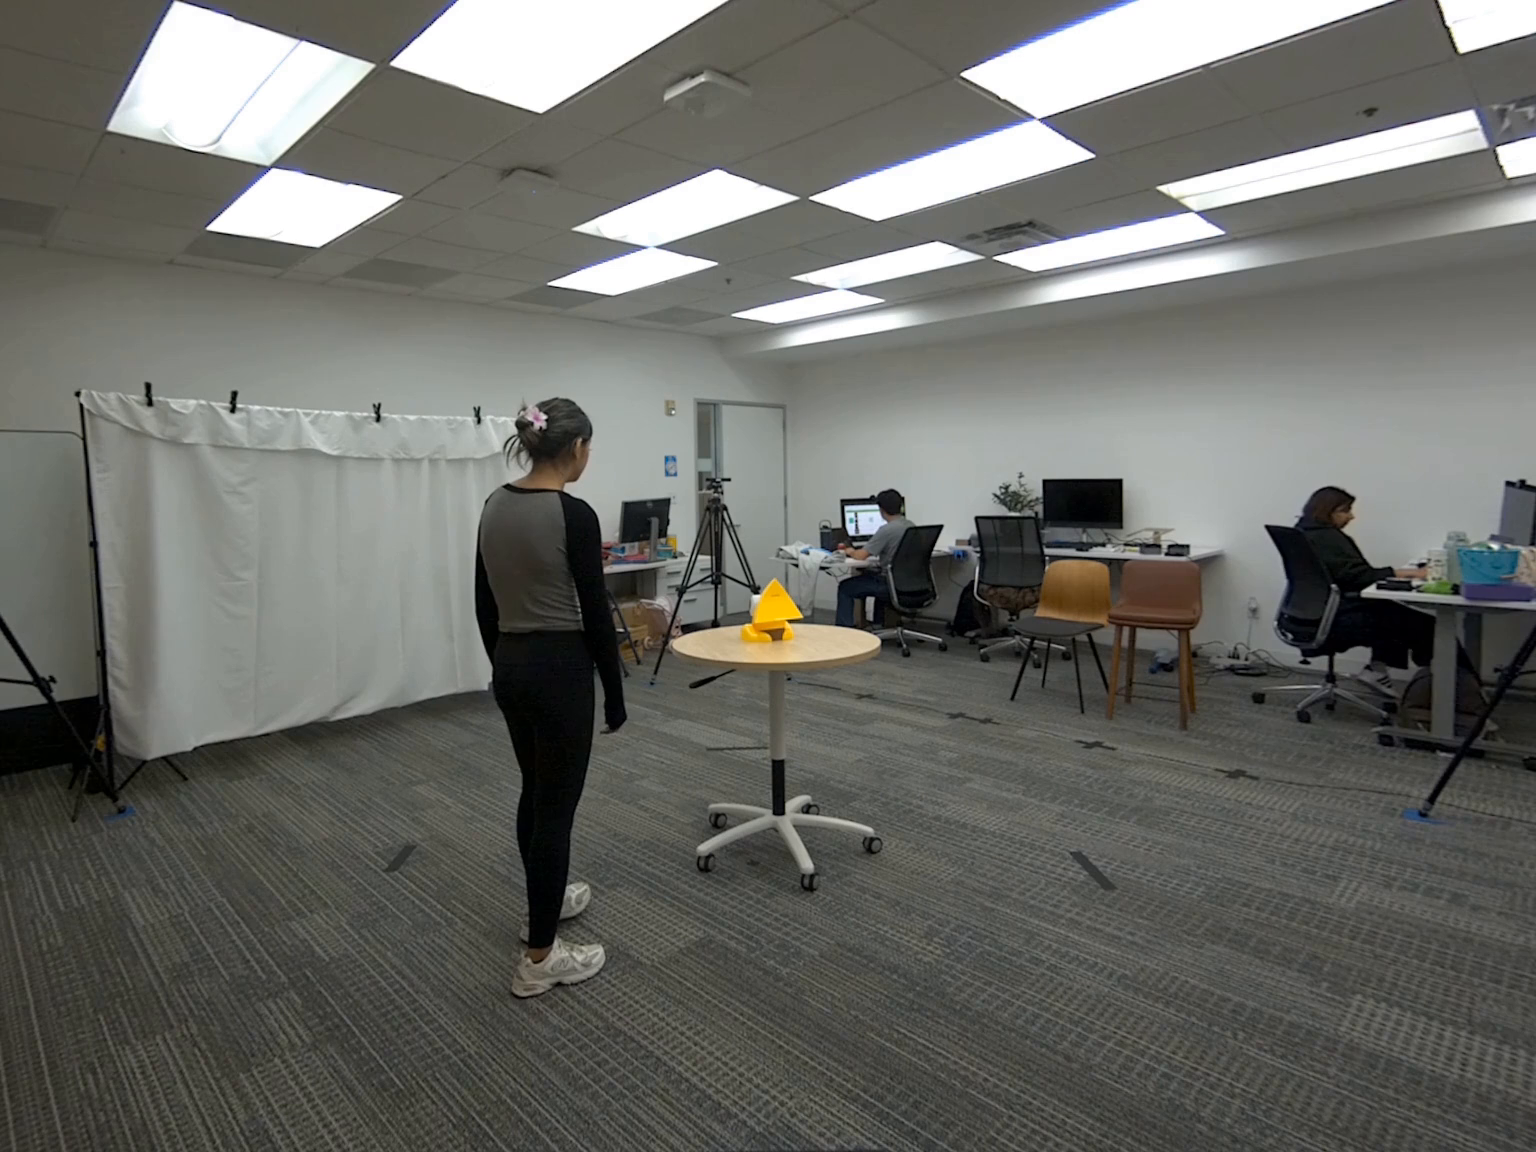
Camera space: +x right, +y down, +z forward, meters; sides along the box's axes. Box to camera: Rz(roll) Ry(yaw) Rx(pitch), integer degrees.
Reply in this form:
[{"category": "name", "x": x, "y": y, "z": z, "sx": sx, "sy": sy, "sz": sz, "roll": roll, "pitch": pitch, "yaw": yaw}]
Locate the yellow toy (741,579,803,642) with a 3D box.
[{"category": "yellow toy", "x": 0.001, "y": 0.121, "z": 3.226, "sx": 0.200, "sy": 0.230, "sz": 0.198, "roll": -4, "pitch": 4, "yaw": -29}]
